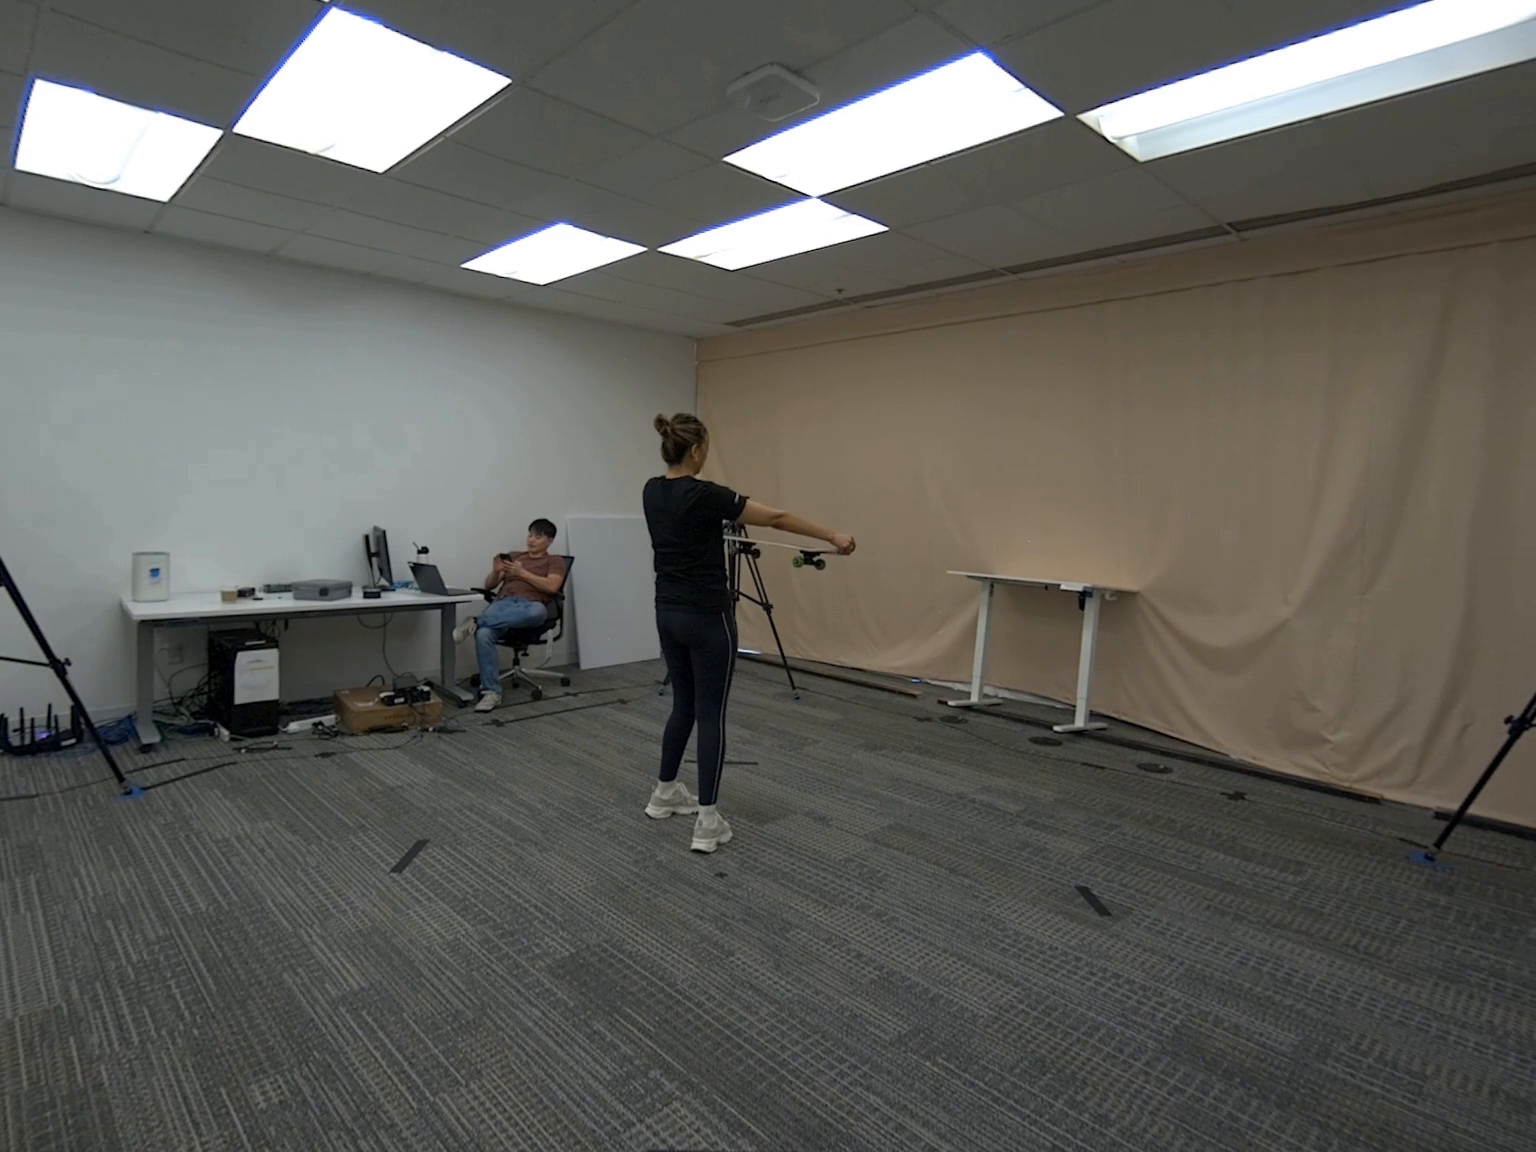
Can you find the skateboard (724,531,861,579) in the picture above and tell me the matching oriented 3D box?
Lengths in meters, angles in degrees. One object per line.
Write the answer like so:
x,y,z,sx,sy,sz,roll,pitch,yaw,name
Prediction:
0.032,-0.111,3.829,0.807,0.110,0.188,11,3,43,skateboard
